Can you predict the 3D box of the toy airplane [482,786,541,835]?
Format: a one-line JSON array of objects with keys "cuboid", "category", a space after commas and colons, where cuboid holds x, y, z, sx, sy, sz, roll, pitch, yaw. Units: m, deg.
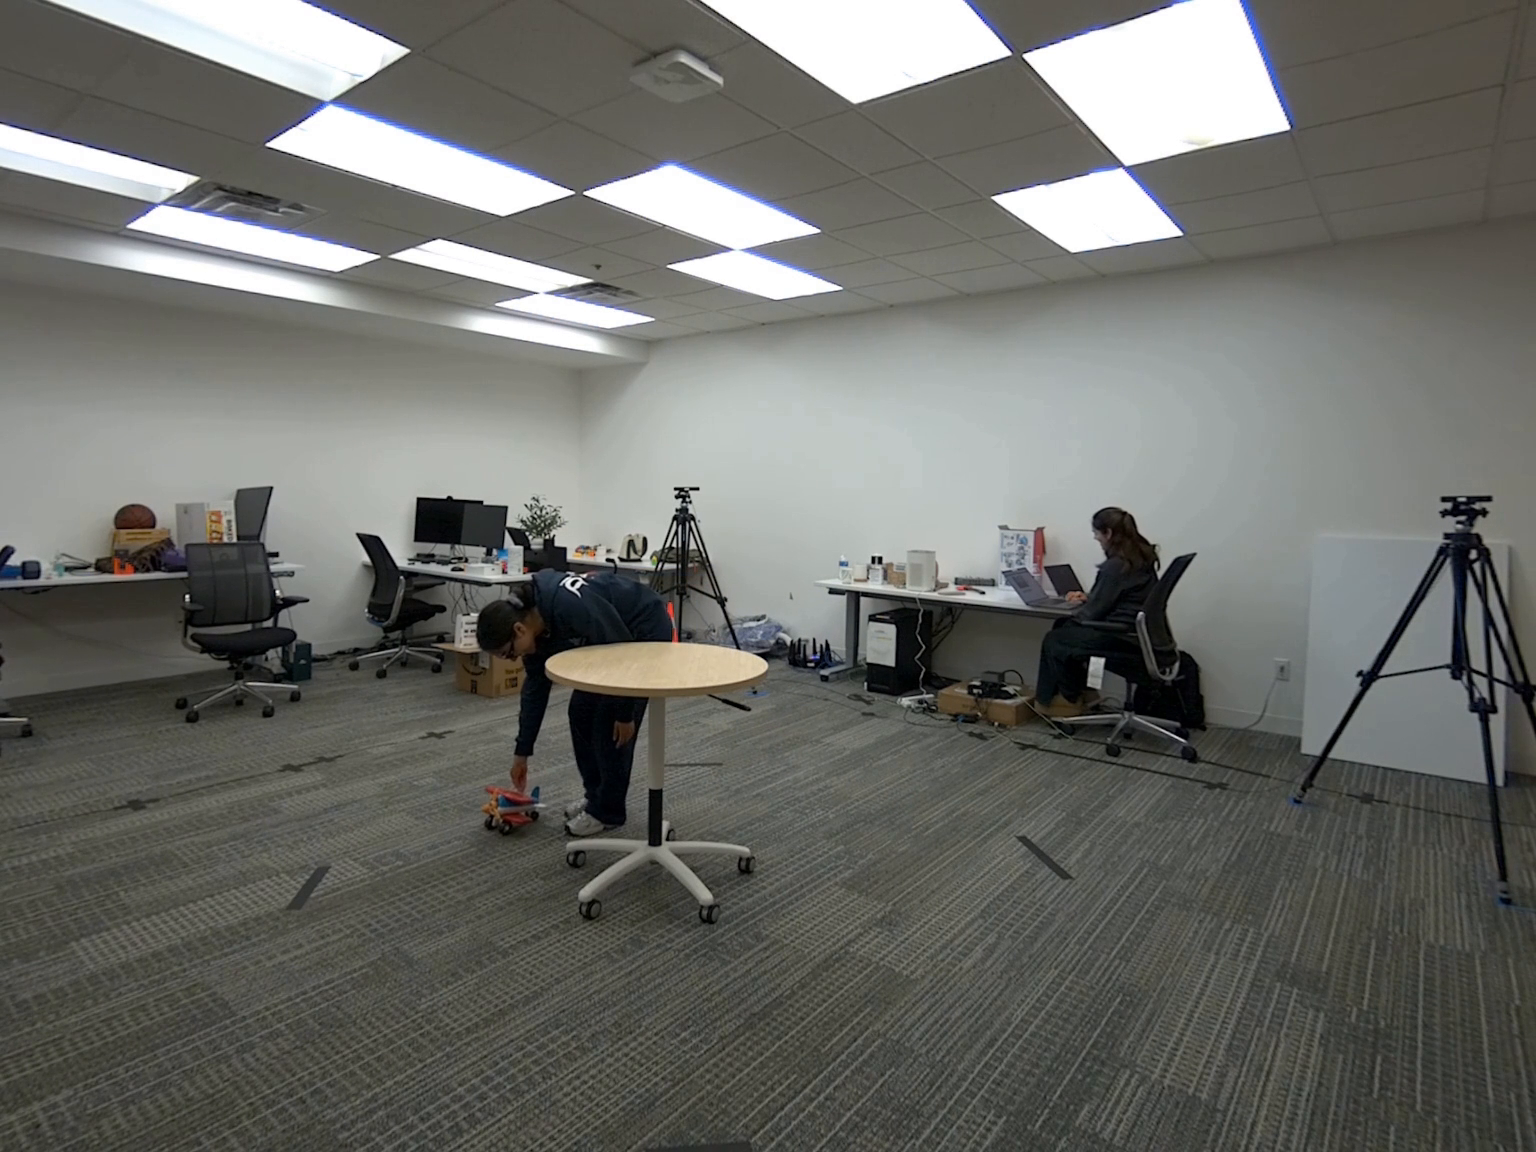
[{"cuboid": [-1.068, 0.946, 3.495, 0.253, 0.155, 0.259, 1, 6, 6], "category": "toy airplane"}]
